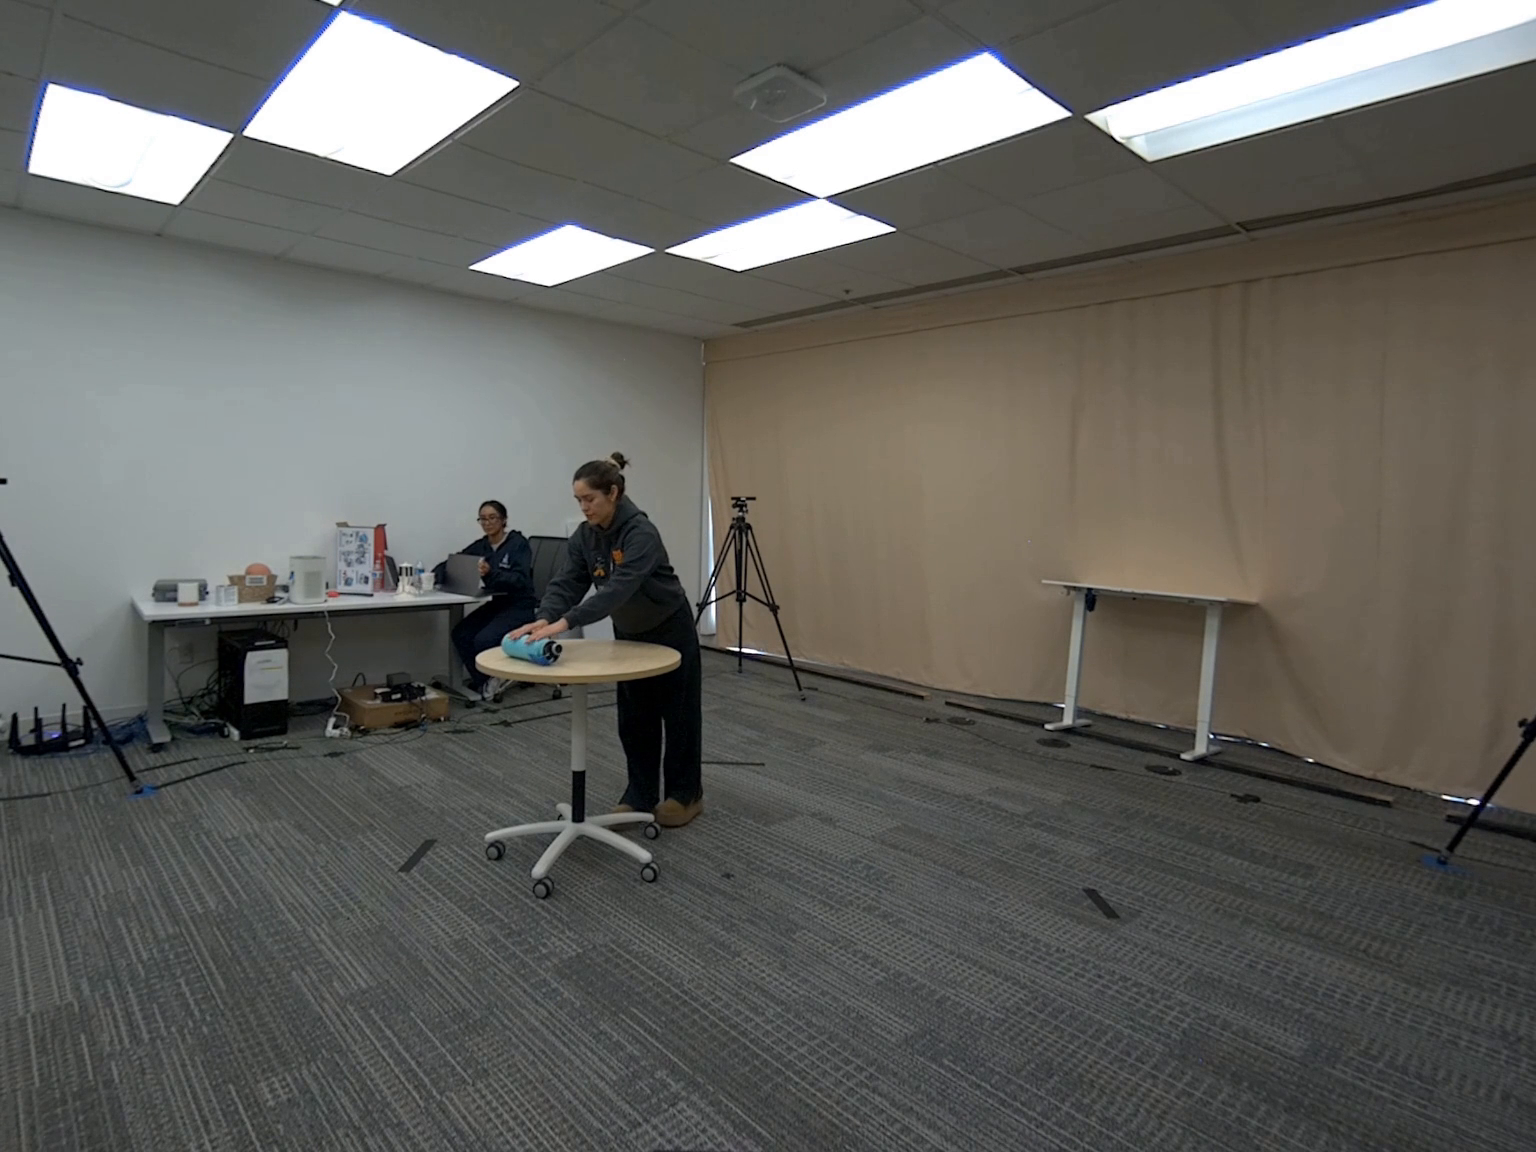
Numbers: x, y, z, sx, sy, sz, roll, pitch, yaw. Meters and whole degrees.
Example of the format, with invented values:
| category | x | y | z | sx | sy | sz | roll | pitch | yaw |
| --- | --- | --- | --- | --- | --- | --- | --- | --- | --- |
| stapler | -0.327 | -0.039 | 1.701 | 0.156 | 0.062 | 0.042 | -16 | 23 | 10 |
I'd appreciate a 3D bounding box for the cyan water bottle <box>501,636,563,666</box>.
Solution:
| category | x | y | z | sx | sy | sz | roll | pitch | yaw |
| --- | --- | --- | --- | --- | --- | --- | --- | --- | --- |
| cyan water bottle | -0.858 | 0.265 | 3.075 | 0.090 | 0.092 | 0.291 | -3 | 6 | -43 |
